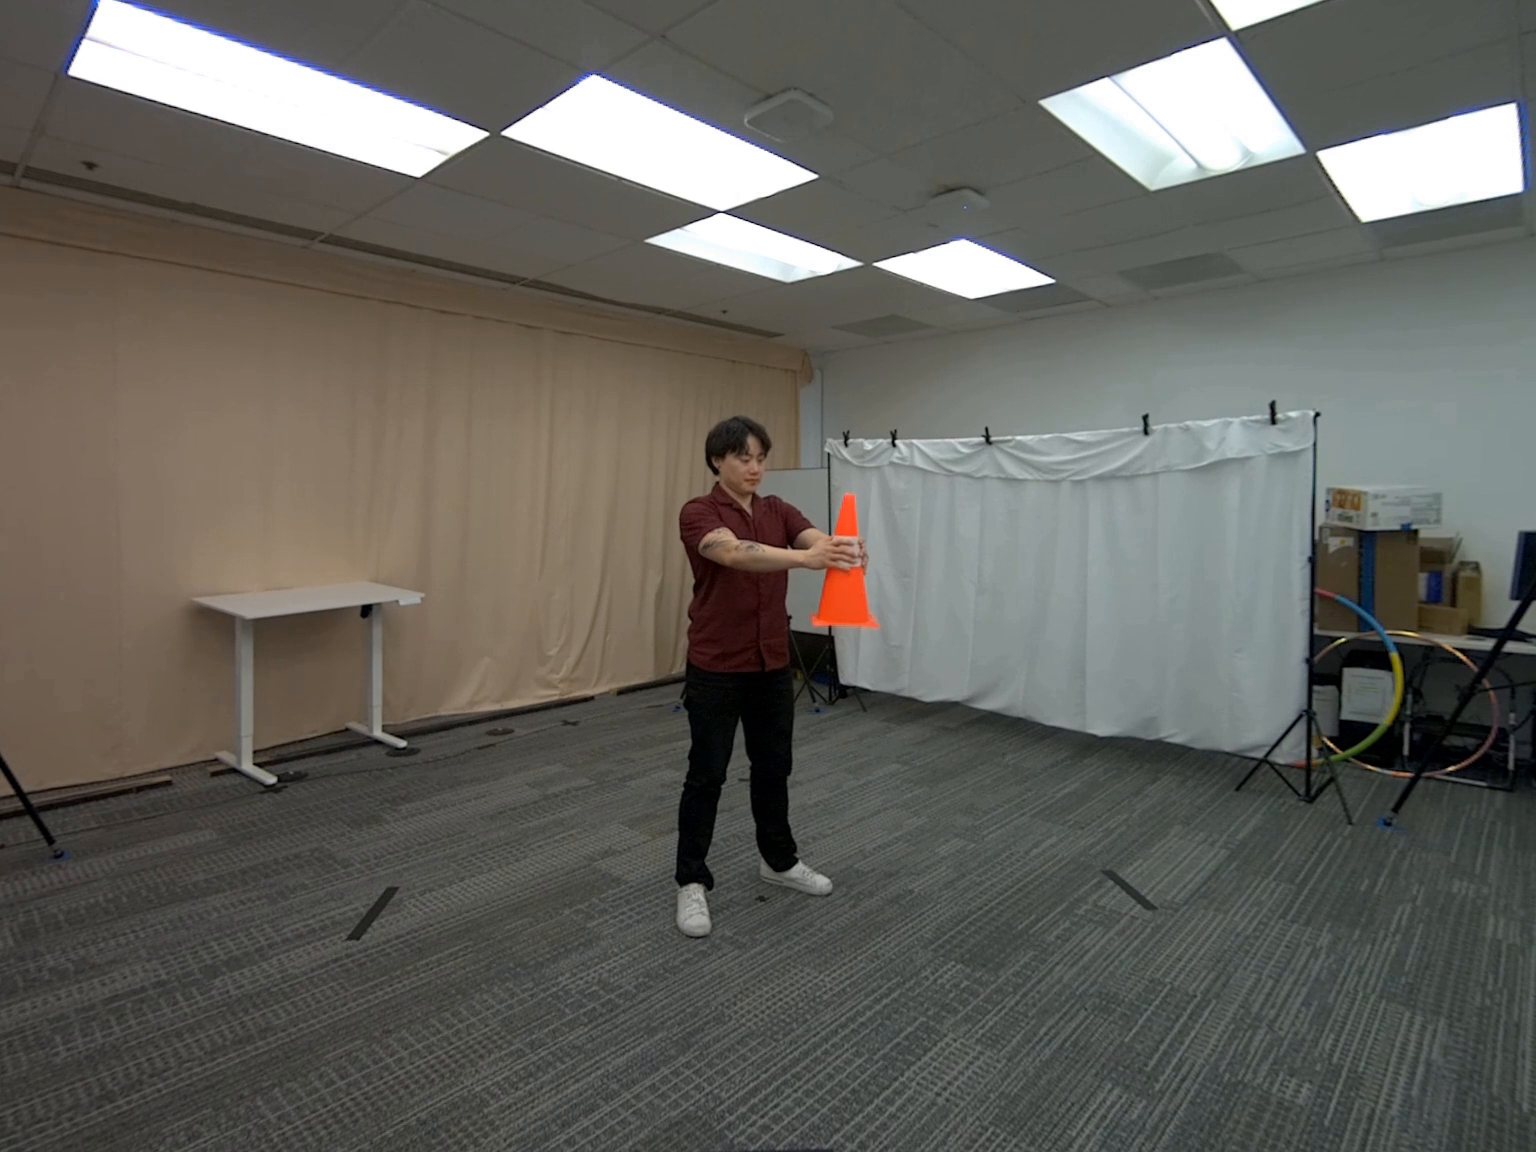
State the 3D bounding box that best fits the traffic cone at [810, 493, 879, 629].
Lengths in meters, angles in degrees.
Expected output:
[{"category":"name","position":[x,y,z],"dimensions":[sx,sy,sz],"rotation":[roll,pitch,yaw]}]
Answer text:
[{"category":"traffic cone","position":[0.240,-0.051,2.517],"dimensions":[0.206,0.382,0.203],"rotation":[0,4,11]}]
